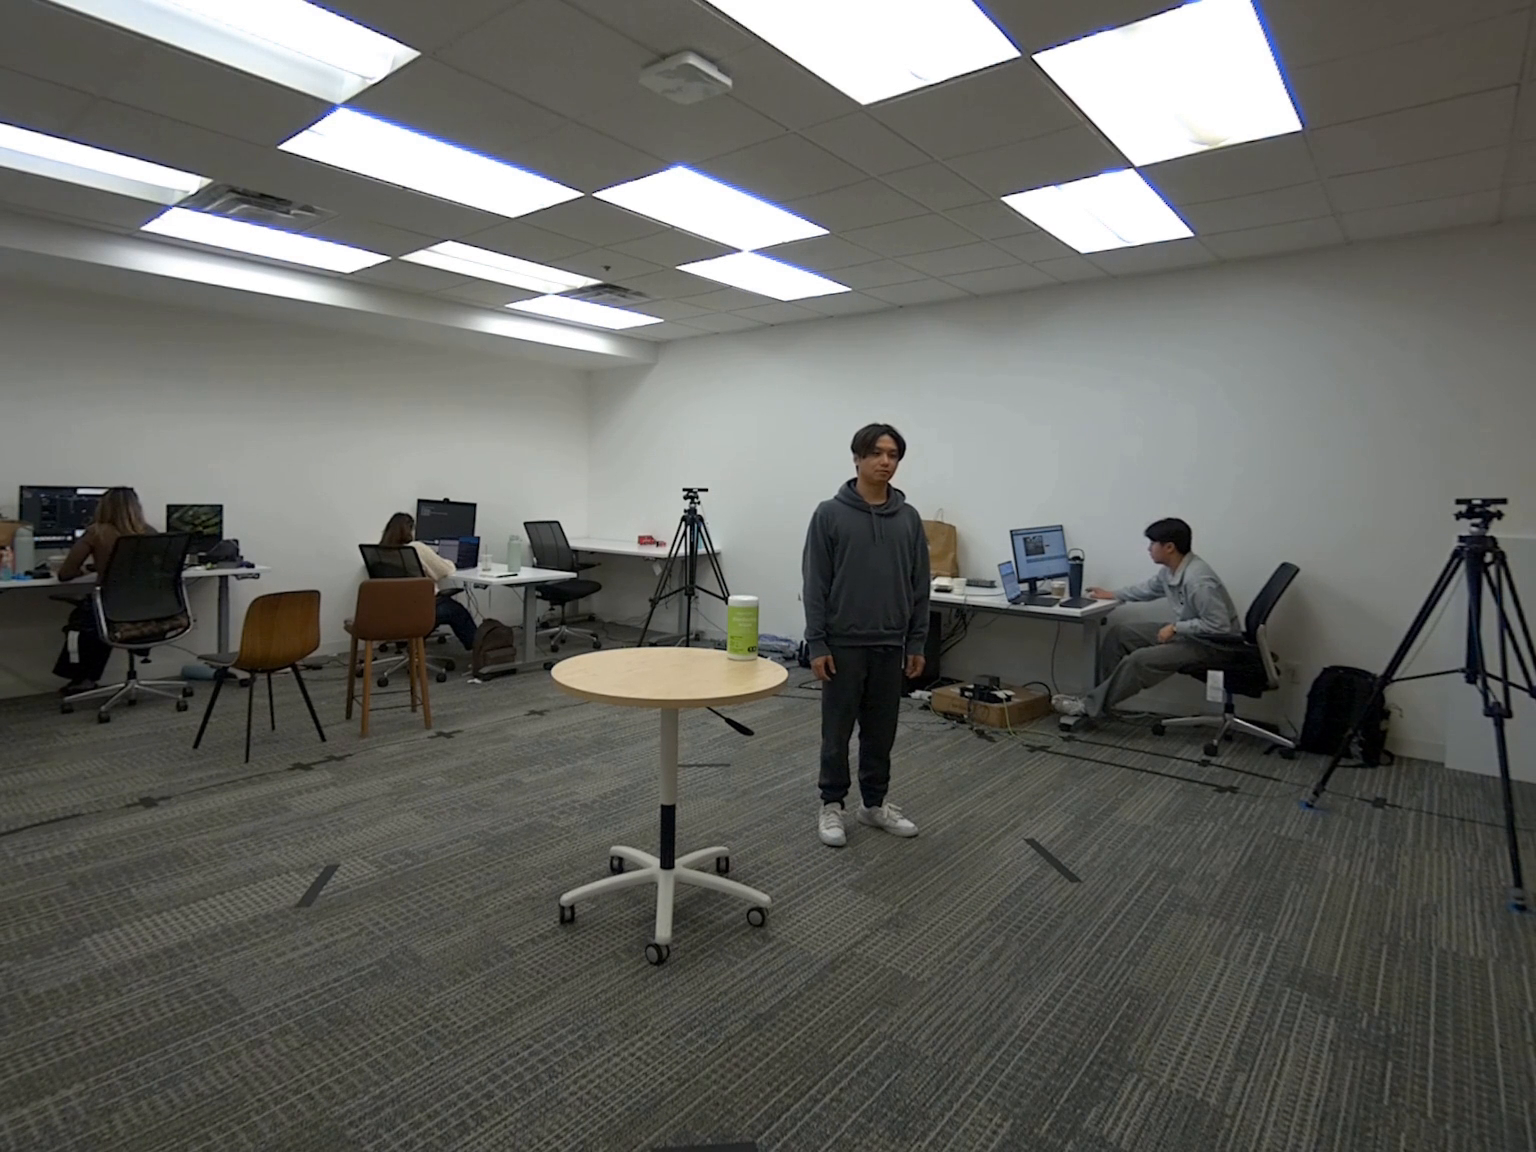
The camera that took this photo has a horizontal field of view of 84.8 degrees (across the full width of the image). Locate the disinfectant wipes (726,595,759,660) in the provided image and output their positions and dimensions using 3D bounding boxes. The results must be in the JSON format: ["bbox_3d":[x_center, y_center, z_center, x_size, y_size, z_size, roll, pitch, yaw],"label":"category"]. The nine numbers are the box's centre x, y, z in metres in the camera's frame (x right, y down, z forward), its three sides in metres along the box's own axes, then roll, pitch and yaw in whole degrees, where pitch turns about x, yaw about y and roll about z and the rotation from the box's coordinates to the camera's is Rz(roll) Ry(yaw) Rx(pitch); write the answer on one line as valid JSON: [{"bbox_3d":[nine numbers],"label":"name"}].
[{"bbox_3d":[-0.098,0.181,2.979,0.118,0.217,0.118,3,1,-2],"label":"disinfectant wipes"}]
